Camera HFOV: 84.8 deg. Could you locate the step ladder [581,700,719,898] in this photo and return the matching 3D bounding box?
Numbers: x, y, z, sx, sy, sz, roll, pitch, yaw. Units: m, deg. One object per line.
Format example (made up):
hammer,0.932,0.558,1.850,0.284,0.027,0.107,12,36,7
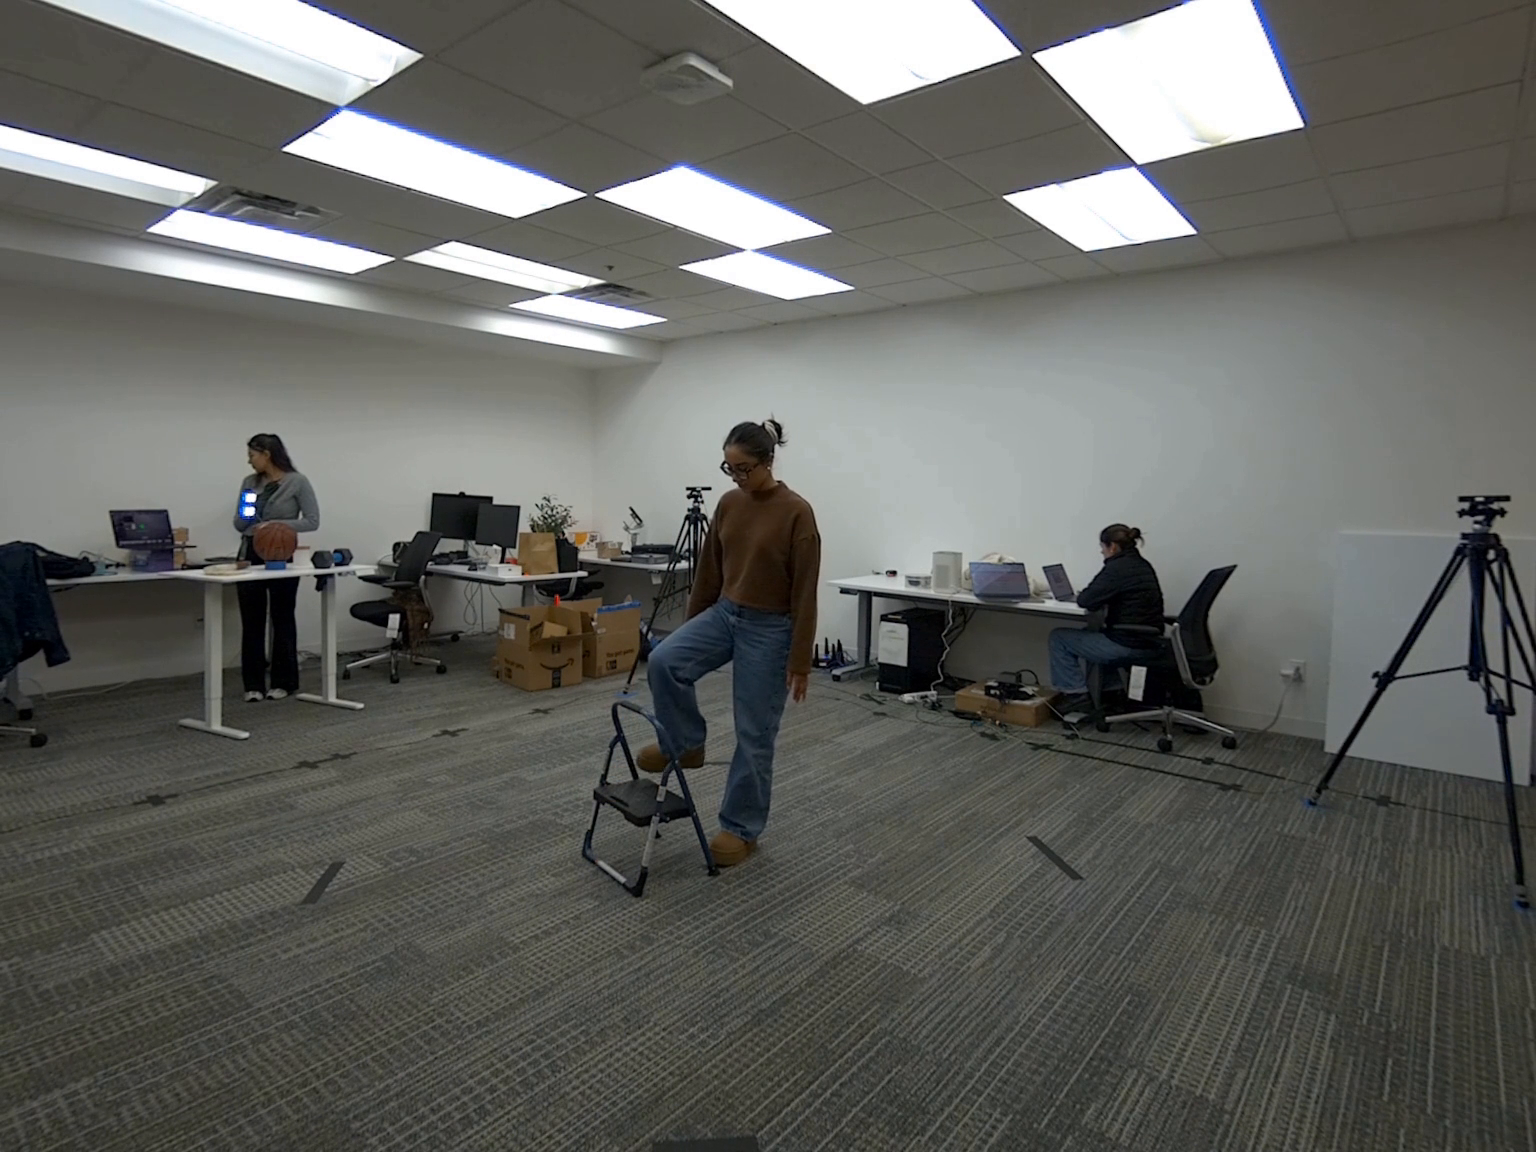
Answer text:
step ladder,-0.447,0.759,3.115,0.339,0.604,0.445,-2,5,-39
